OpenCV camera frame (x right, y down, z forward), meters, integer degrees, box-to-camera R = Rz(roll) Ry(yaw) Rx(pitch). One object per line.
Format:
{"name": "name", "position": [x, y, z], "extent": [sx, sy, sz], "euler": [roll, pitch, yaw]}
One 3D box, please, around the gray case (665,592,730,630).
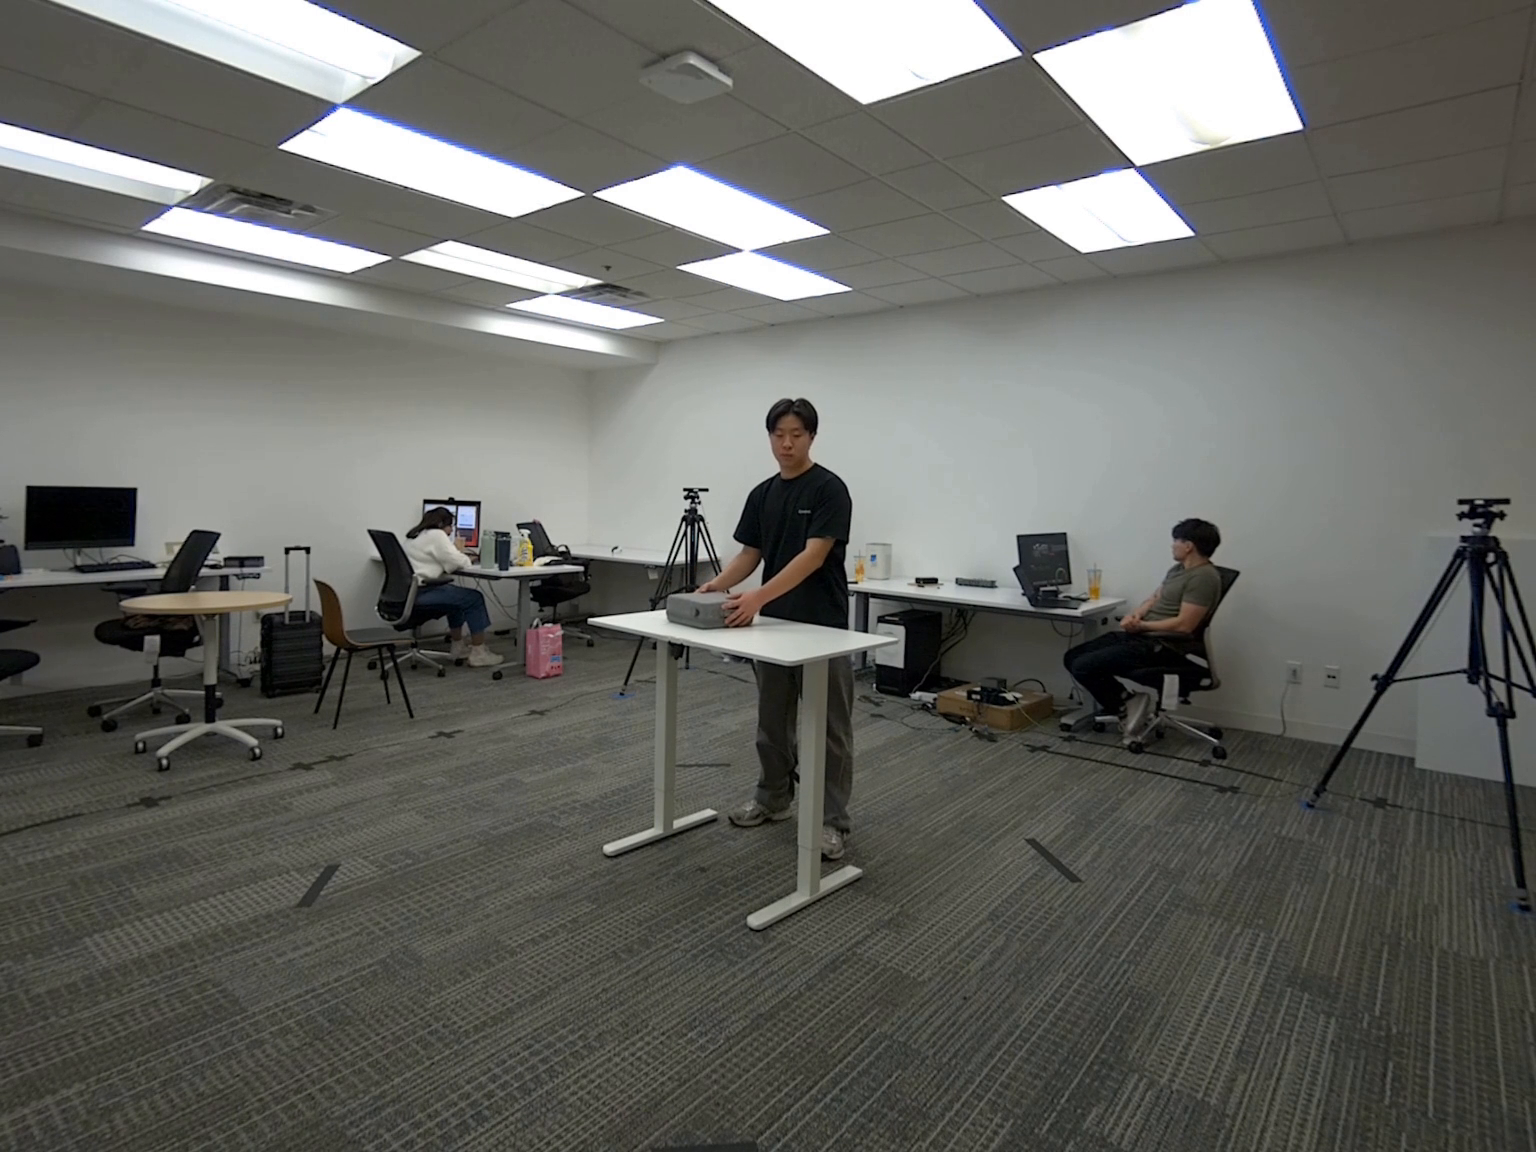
{"name": "gray case", "position": [-0.227, 0.128, 3.195], "extent": [0.255, 0.102, 0.297], "euler": [-3, 8, -39]}
